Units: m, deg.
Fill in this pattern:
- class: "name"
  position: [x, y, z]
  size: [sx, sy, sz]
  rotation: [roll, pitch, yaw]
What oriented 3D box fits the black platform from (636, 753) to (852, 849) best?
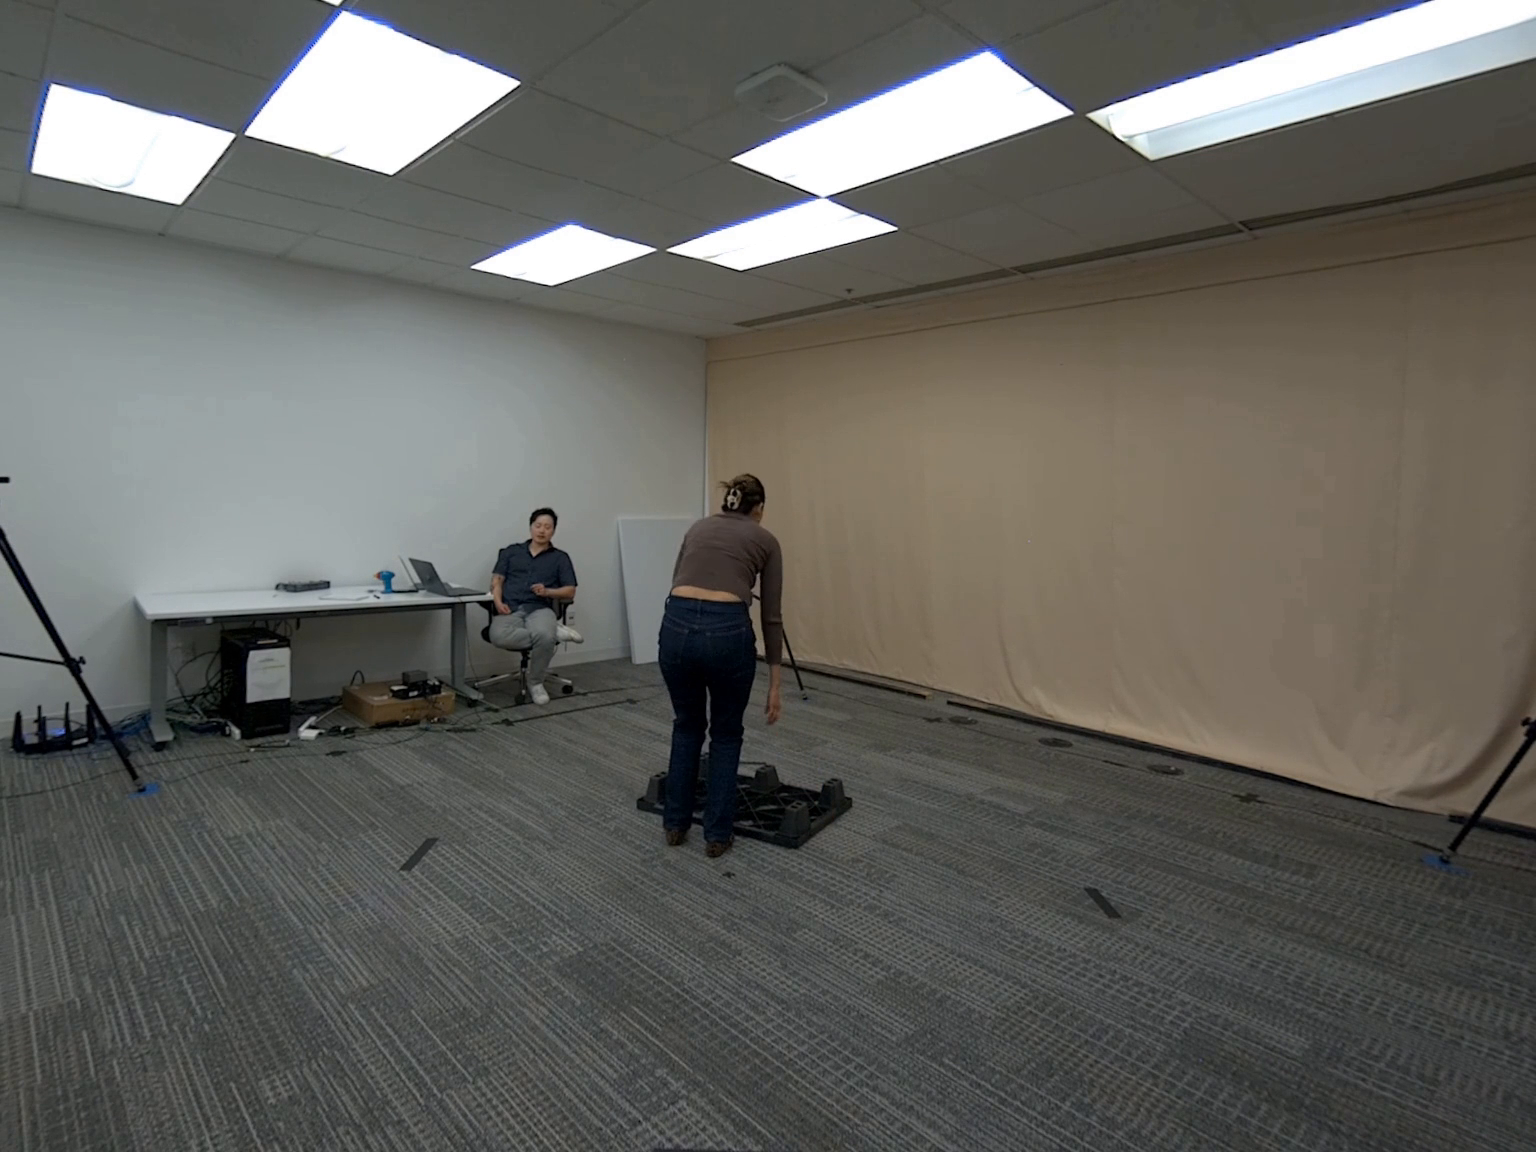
- class: "black platform"
  position: [-0.103, 0.977, 3.797]
  size: [0.823, 0.143, 0.594]
  rotation: [4, 6, 29]
